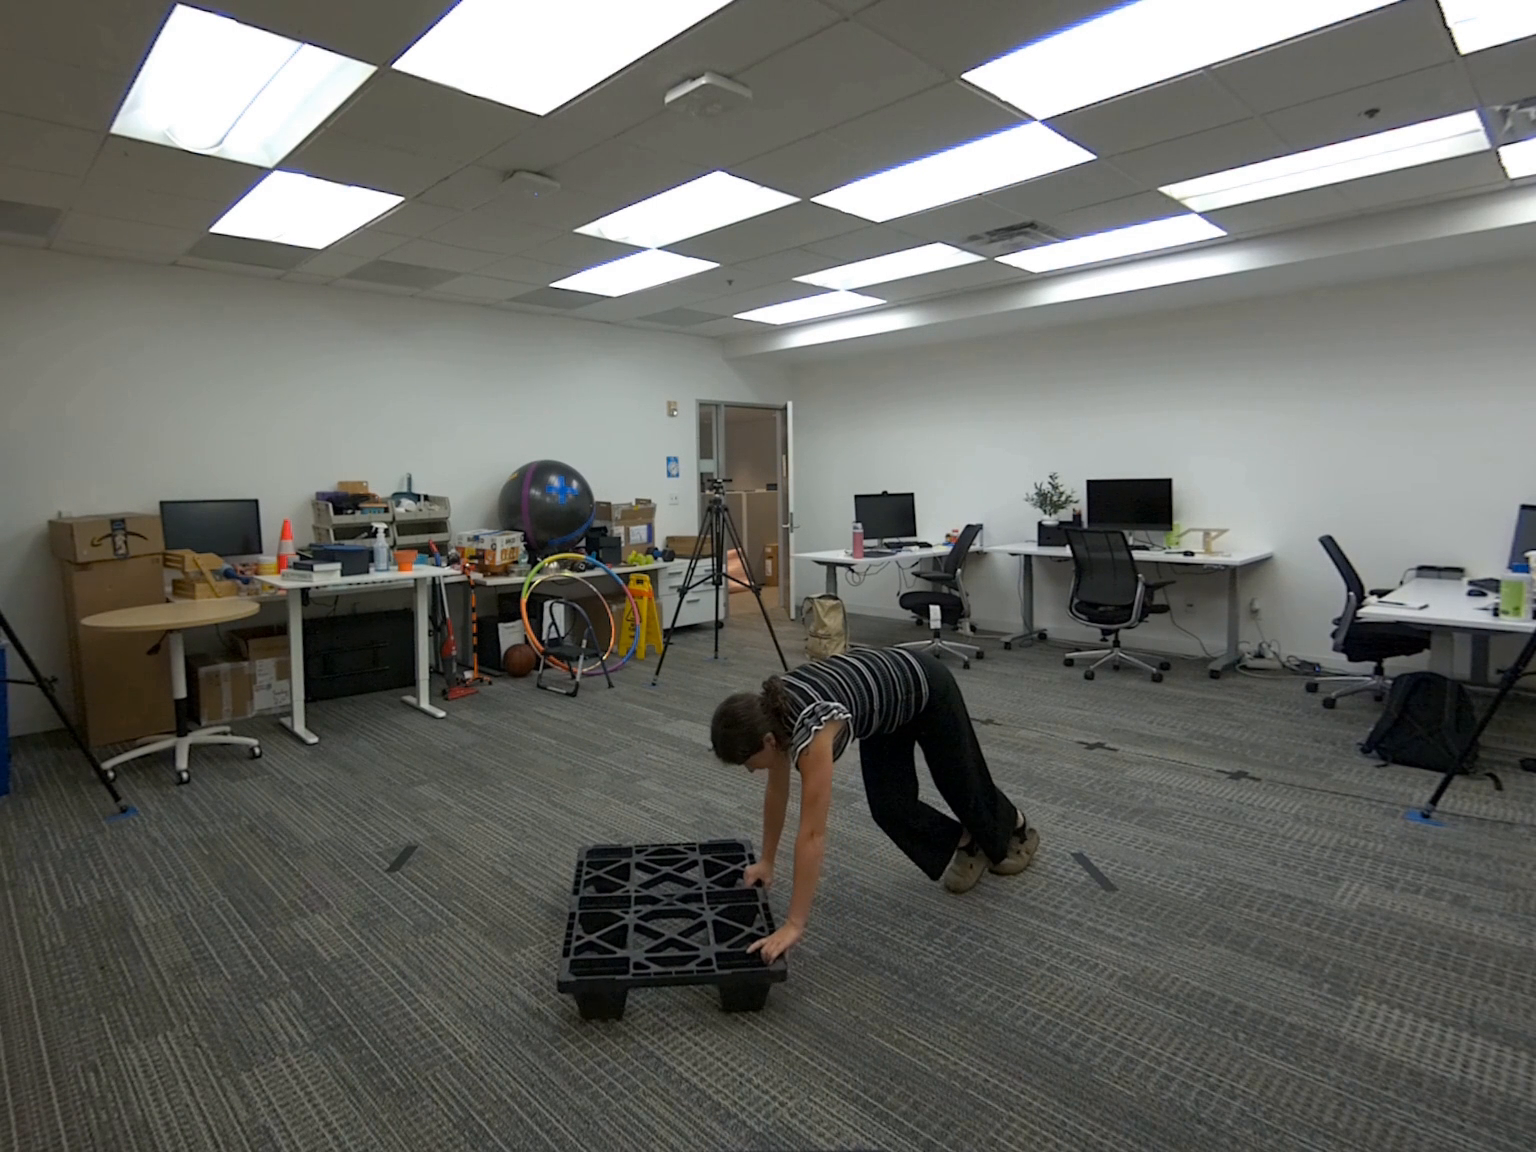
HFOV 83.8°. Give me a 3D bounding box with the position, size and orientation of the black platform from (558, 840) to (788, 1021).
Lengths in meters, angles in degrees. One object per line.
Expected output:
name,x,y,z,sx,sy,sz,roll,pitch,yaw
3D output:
black platform,-0.294,1.041,2.585,0.601,0.142,0.815,-2,7,-8
